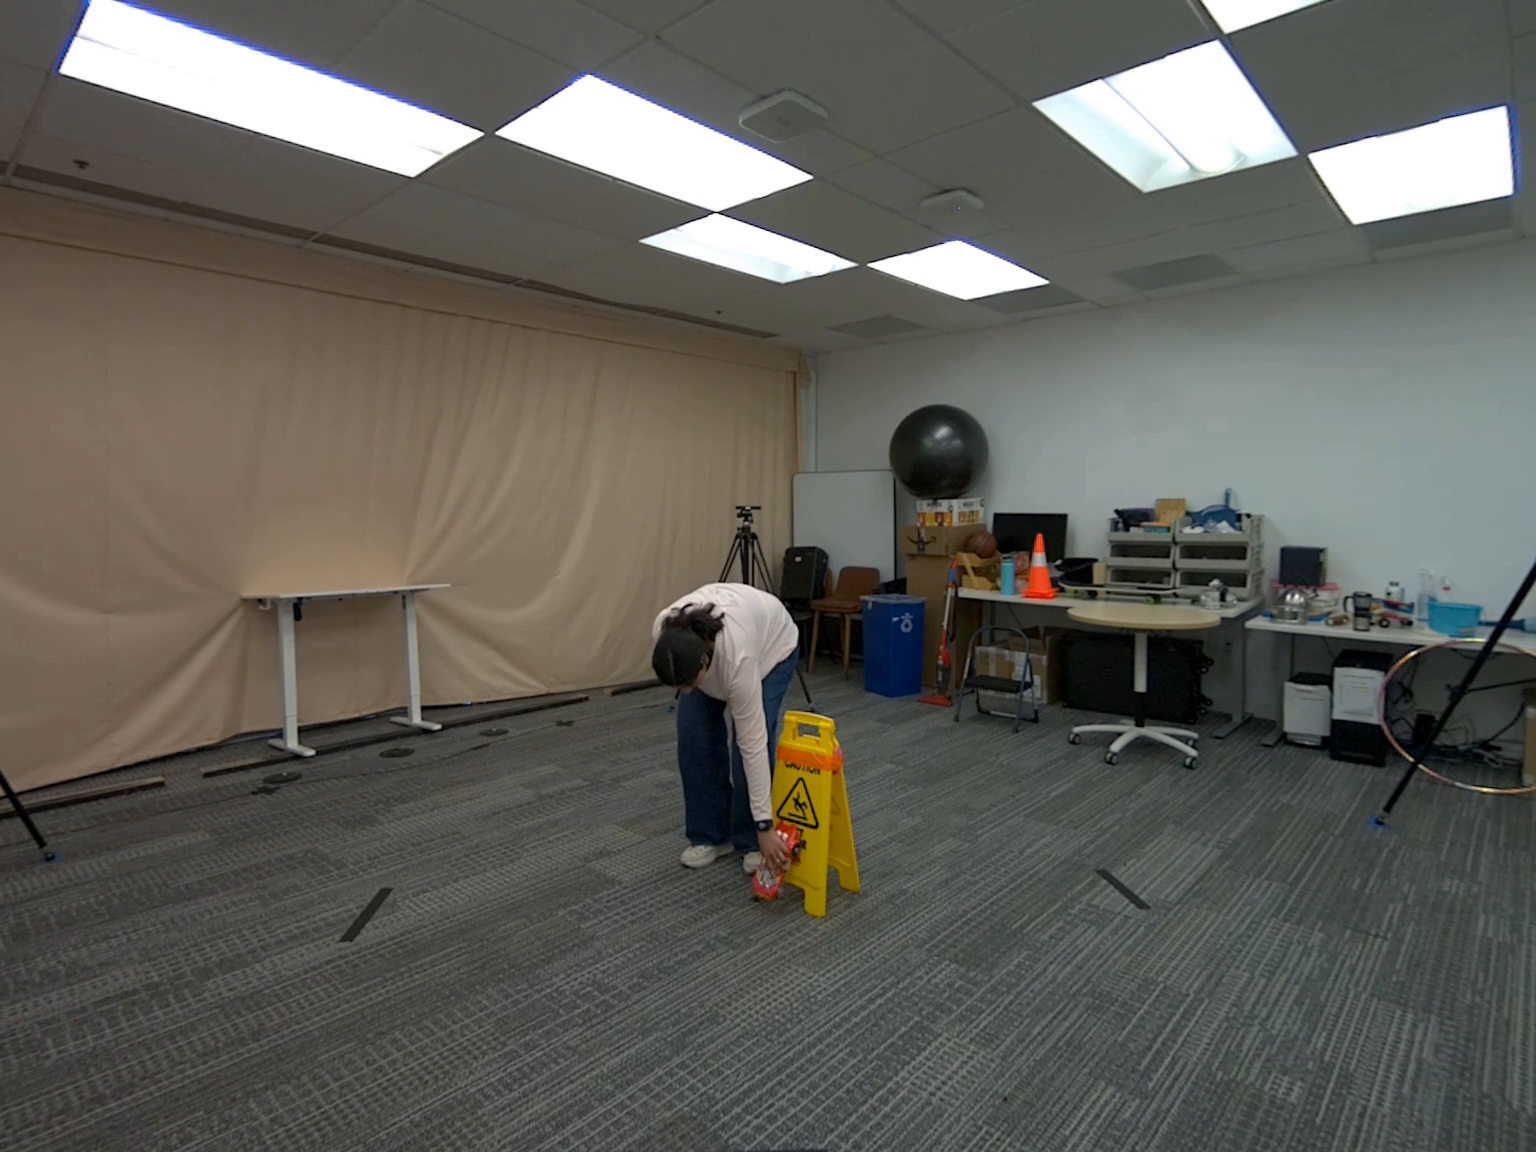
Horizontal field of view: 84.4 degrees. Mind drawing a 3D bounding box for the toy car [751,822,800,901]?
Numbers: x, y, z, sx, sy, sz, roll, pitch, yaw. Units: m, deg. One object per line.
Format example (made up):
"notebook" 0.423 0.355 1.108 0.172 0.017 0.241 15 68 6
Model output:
"toy car" 0.037 0.979 2.923 0.135 0.255 0.080 7 -16 45
